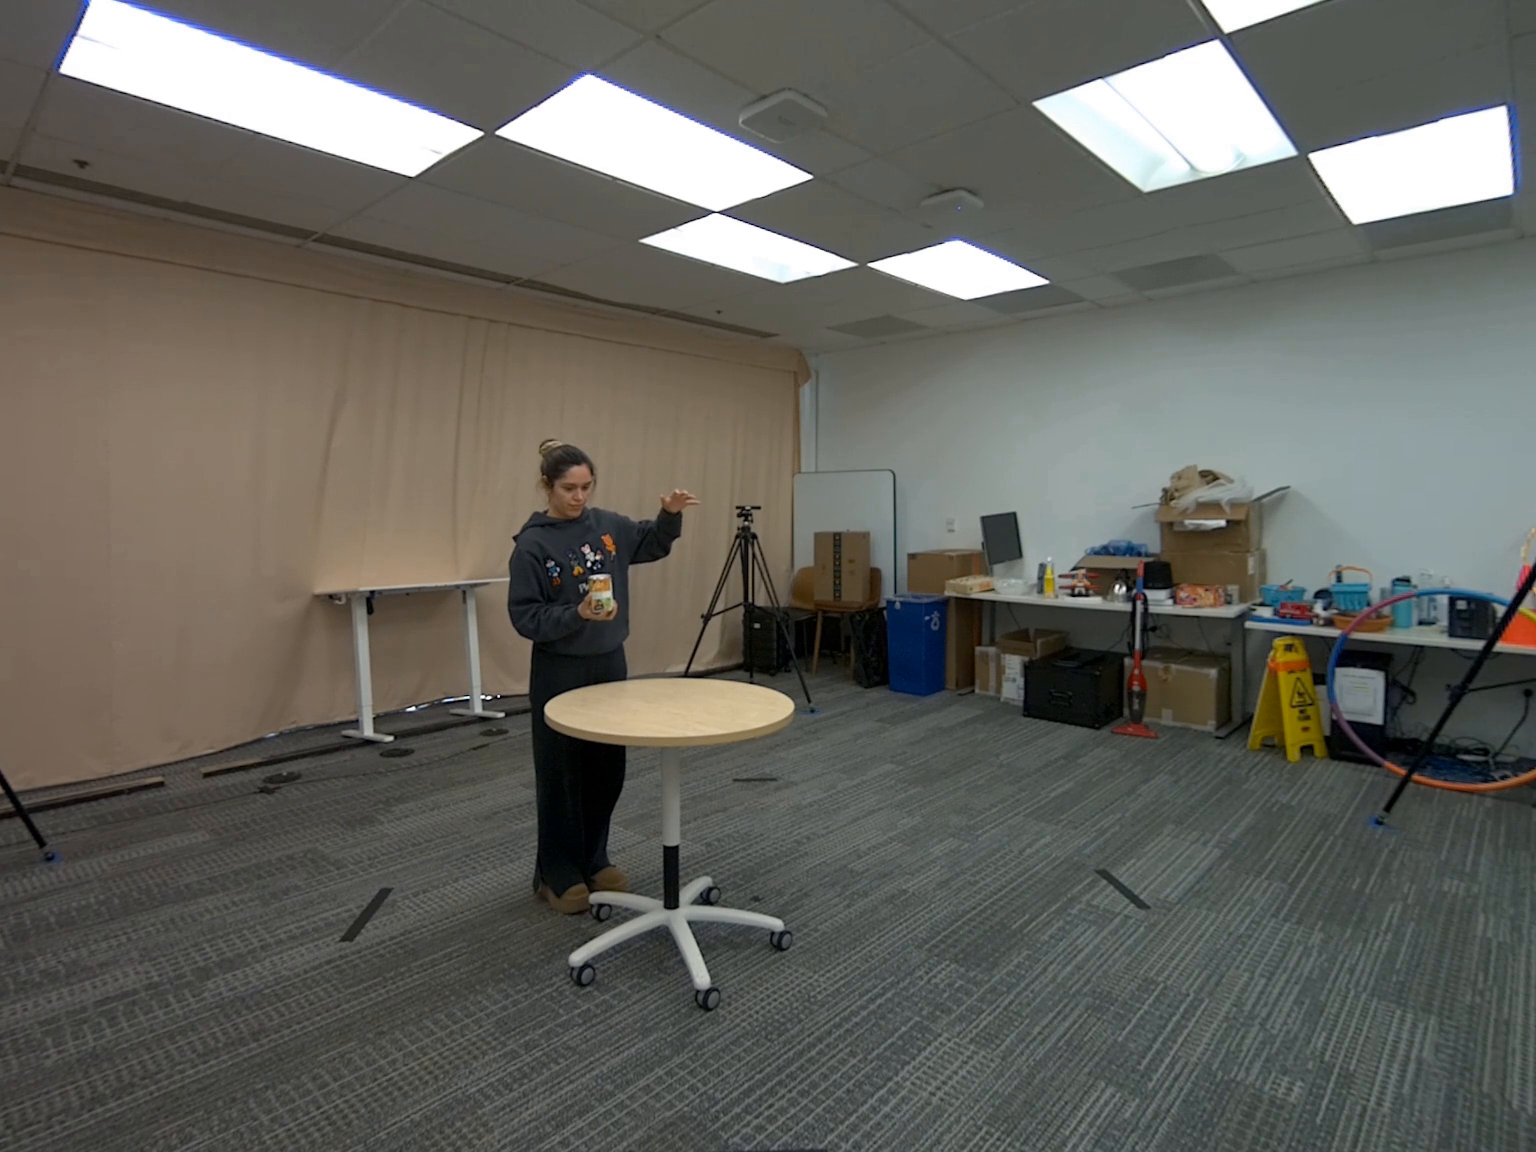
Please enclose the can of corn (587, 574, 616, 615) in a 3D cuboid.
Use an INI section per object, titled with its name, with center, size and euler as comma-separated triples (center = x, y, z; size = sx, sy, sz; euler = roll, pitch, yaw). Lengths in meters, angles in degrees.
[can of corn]
center = -0.531, 0.057, 2.714
size = 0.074, 0.110, 0.074
euler = -5, 6, -1
